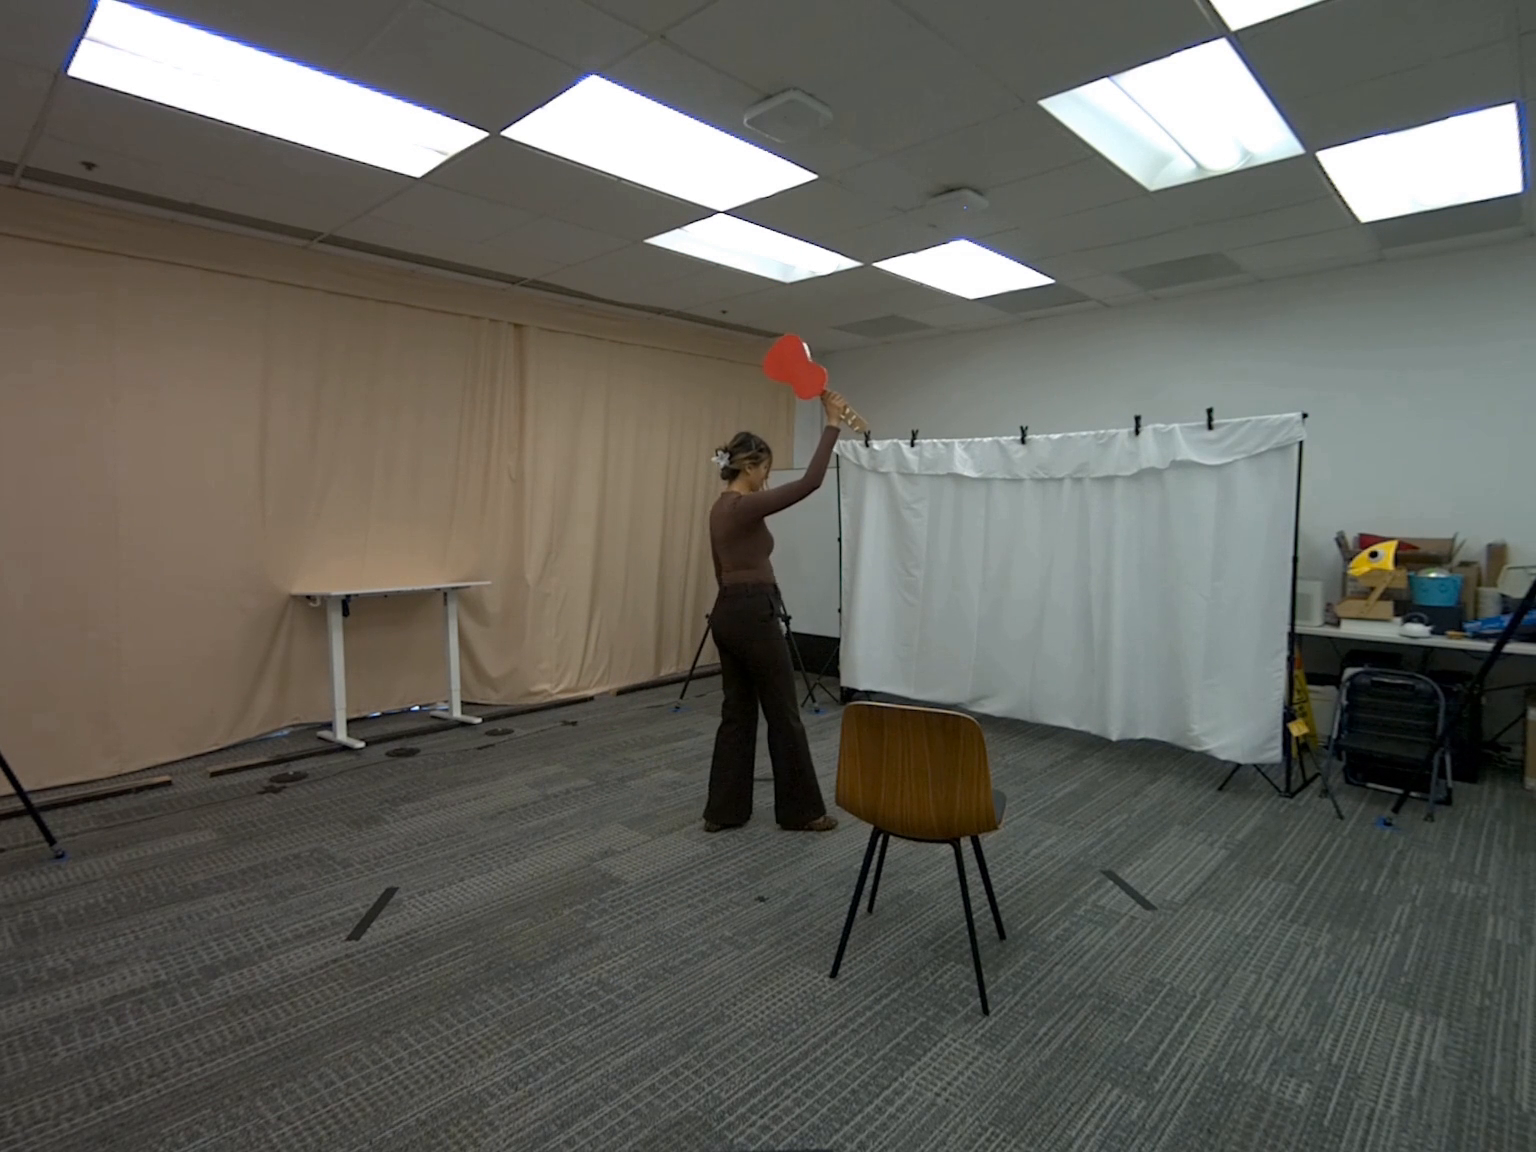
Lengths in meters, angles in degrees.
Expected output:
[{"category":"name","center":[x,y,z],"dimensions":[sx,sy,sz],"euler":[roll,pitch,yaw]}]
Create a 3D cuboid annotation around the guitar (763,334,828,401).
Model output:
[{"category":"guitar","center":[0.220,-0.768,3.355],"dimensions":[0.505,0.193,0.069],"euler":[37,18,12]}]
